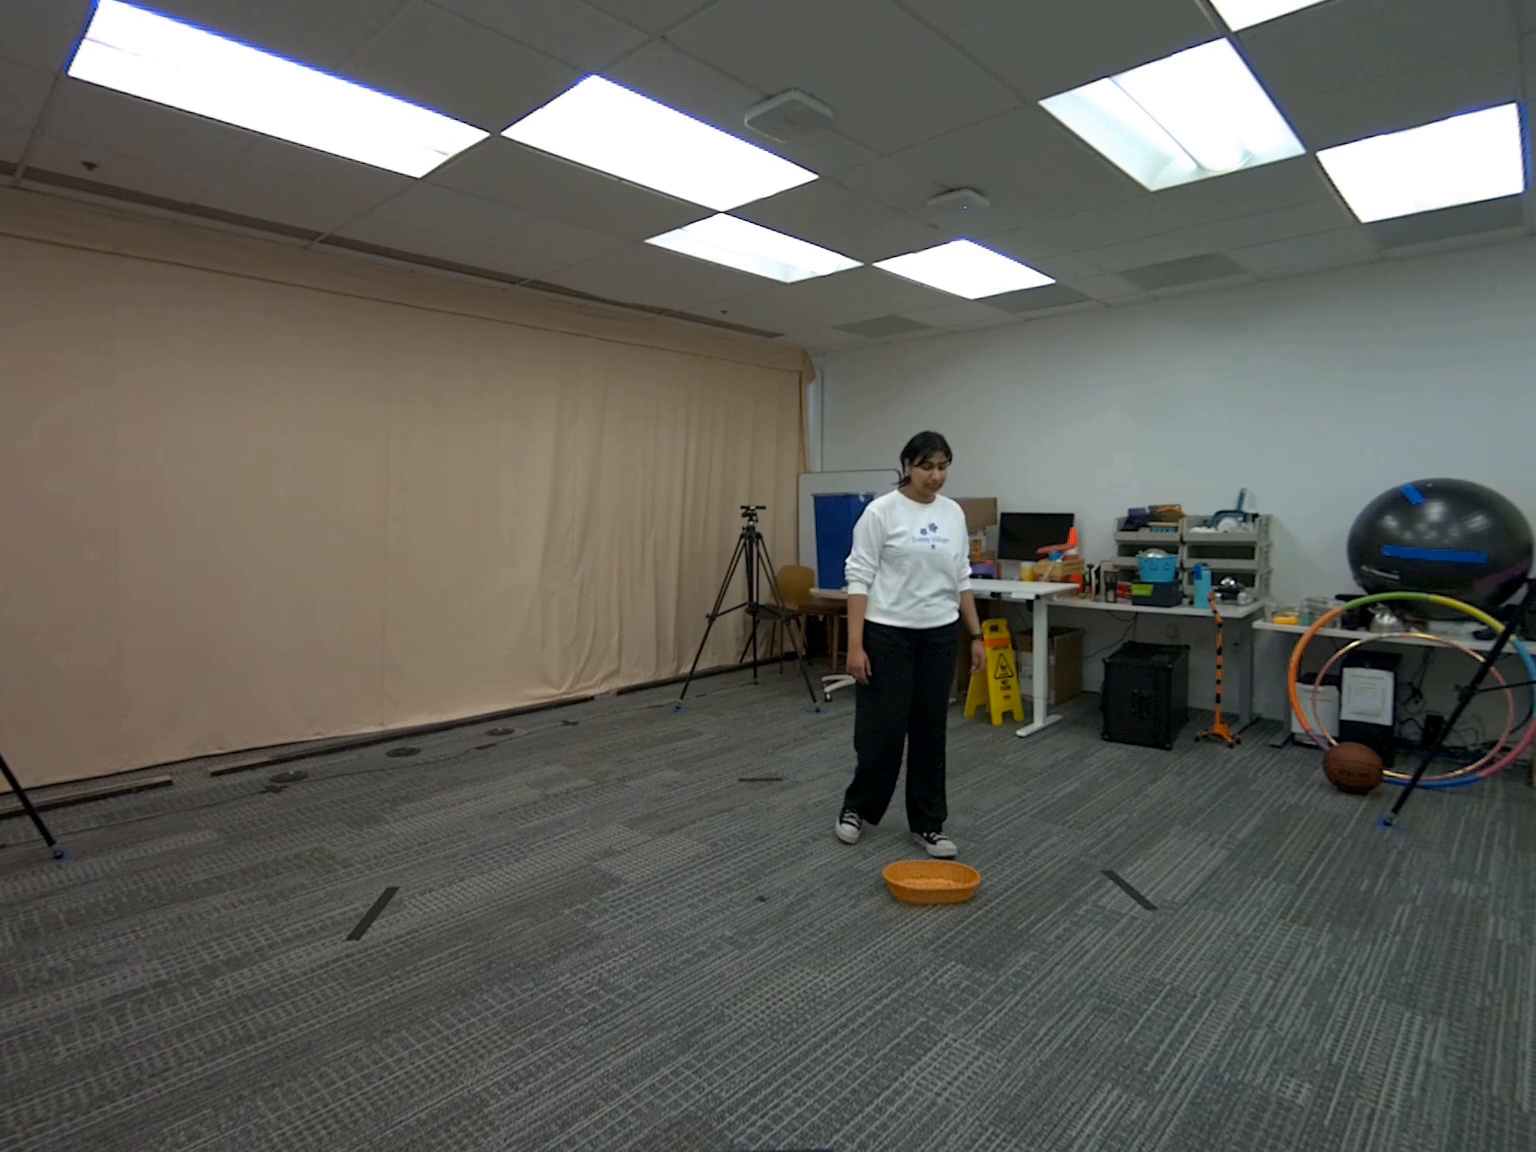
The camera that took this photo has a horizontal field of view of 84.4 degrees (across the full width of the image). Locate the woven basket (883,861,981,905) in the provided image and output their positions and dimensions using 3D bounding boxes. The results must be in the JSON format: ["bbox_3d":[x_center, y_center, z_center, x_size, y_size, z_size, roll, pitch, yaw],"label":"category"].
[{"bbox_3d":[0.581,1.097,3.019,0.350,0.073,0.253,-1,3,-1],"label":"woven basket"}]
